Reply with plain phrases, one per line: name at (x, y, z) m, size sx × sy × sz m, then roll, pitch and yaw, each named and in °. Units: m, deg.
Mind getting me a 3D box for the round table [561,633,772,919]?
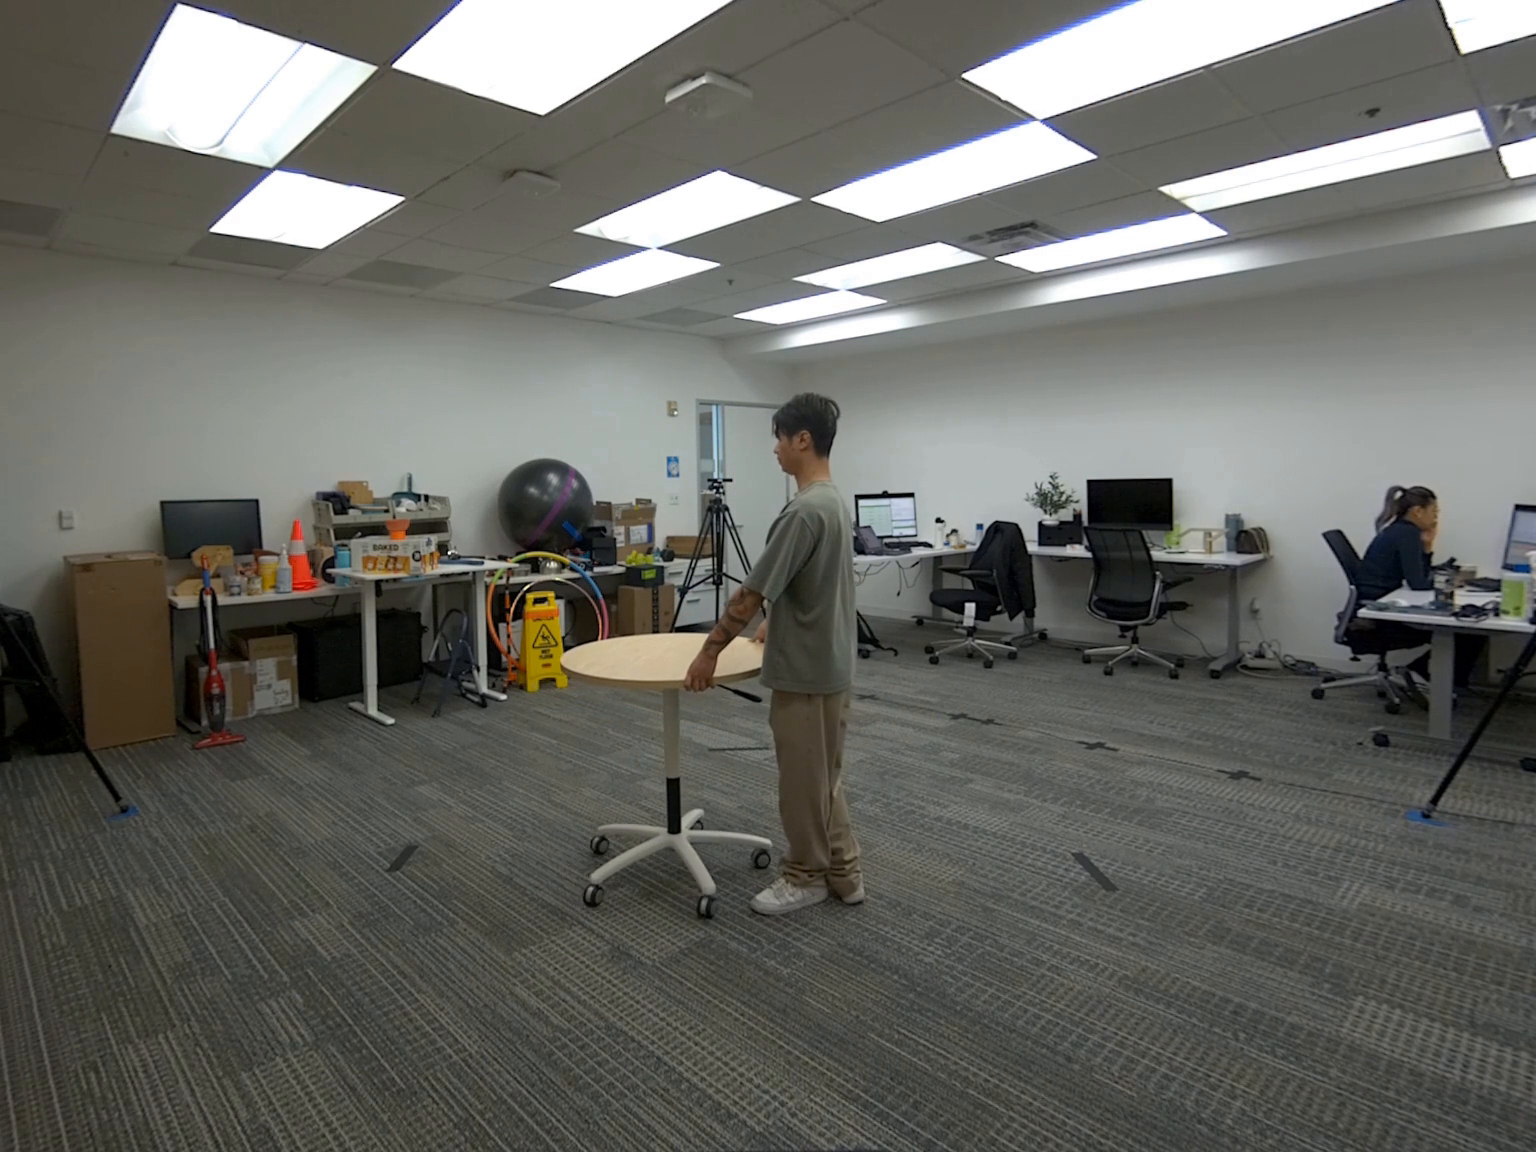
round table at (-0.349, 0.661, 3.046) m, size 0.784 × 0.783 × 0.789 m, roll -1°, pitch 5°, yaw -2°
